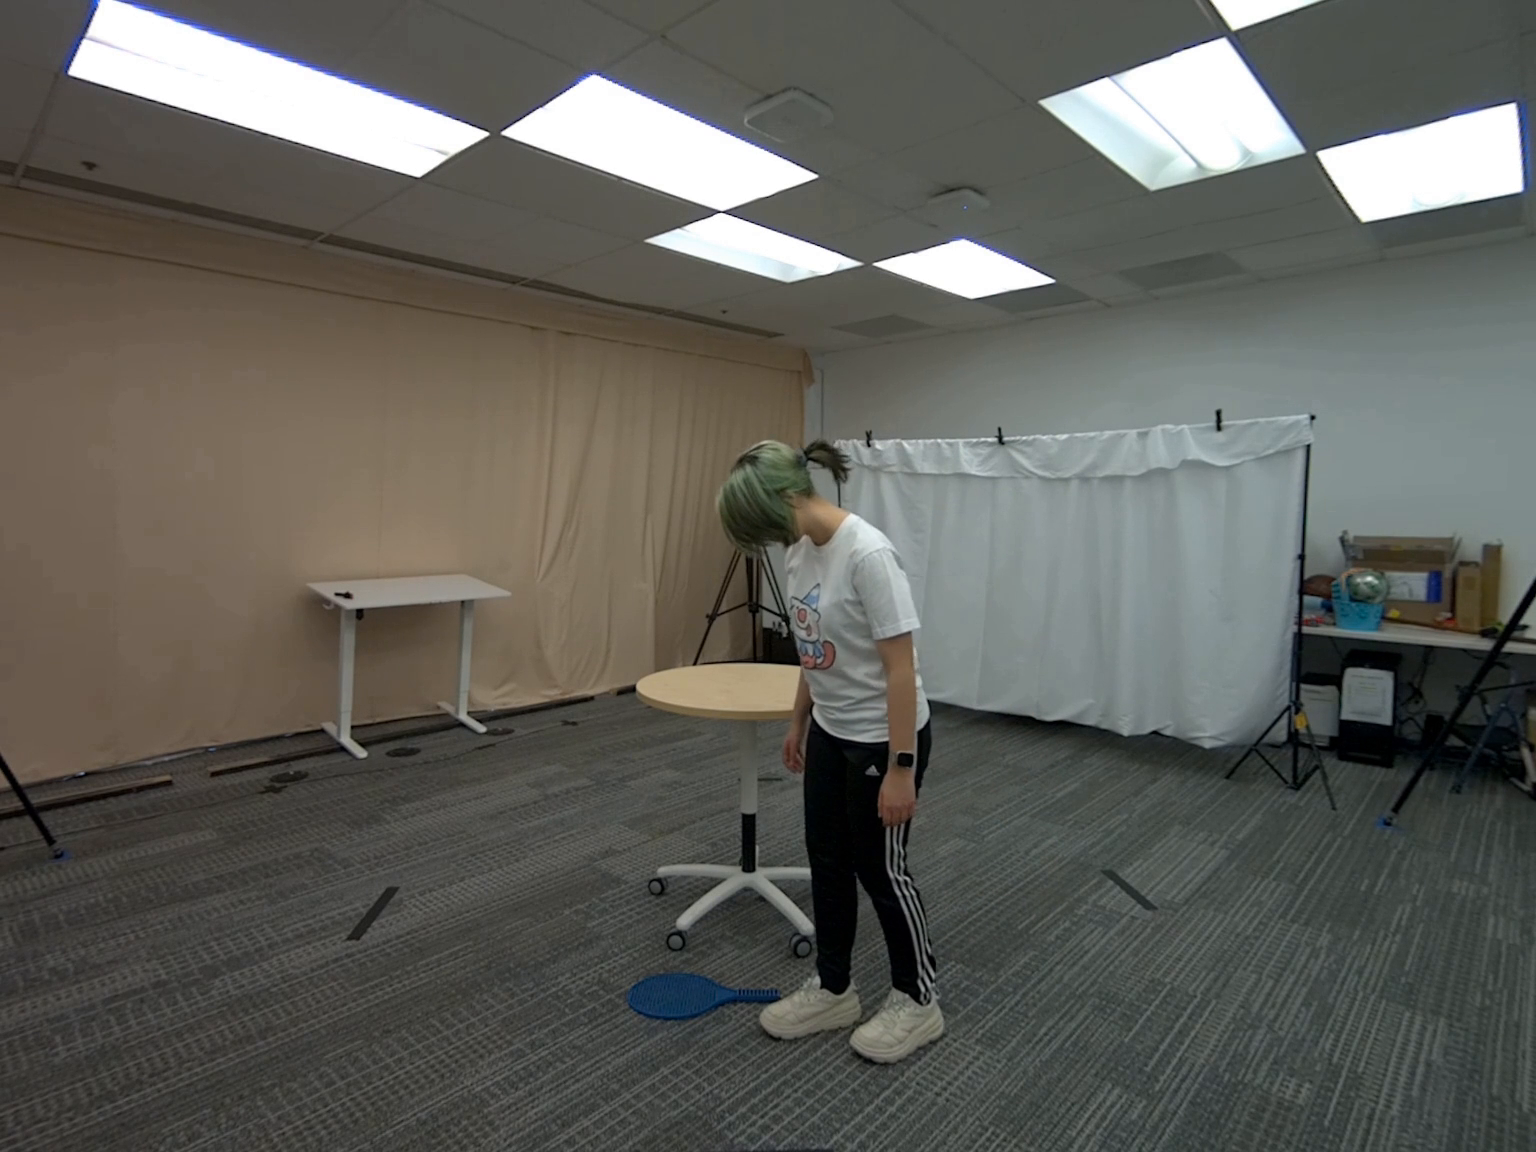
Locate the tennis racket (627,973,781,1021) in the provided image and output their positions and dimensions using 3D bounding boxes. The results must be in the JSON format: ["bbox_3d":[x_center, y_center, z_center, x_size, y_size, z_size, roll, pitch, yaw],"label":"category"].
[{"bbox_3d":[-0.180,1.182,2.379,0.434,0.031,0.213,-1,5,3],"label":"tennis racket"}]
